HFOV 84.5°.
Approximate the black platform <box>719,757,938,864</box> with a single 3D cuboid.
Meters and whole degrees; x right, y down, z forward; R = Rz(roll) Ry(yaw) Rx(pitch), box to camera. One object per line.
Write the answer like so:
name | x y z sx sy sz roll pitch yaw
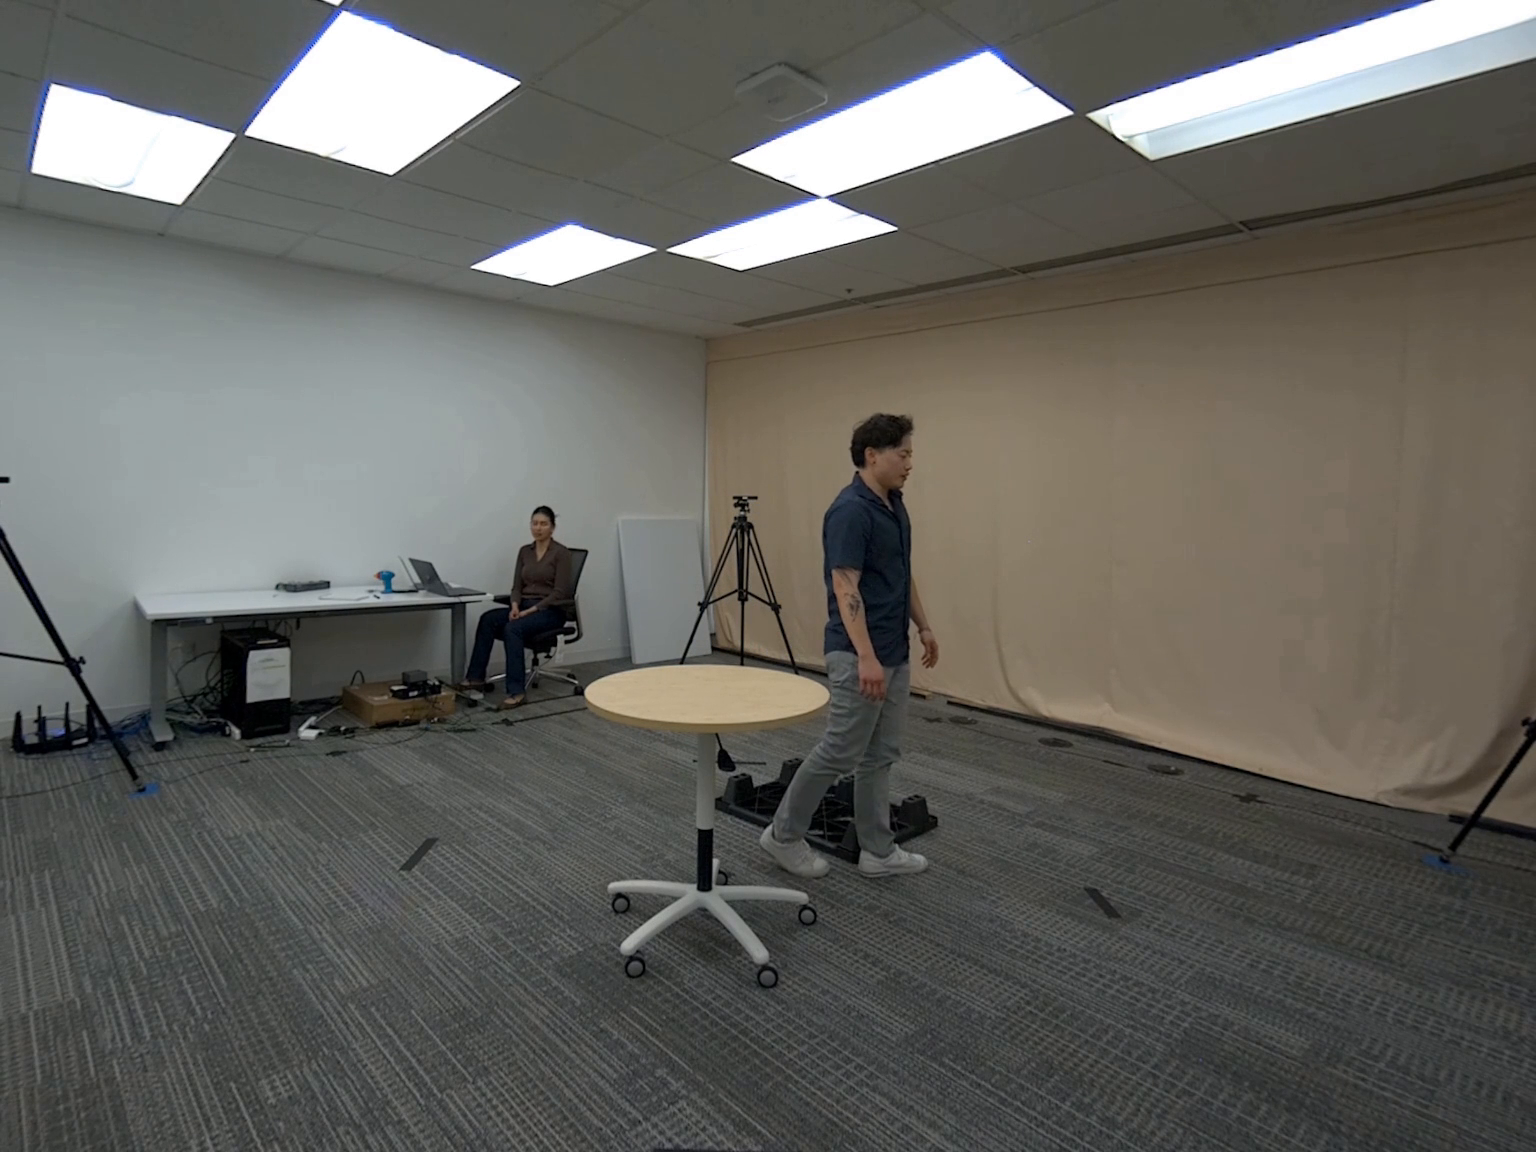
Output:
black platform | 0.244 0.993 3.700 0.826 0.143 0.591 7 8 44
